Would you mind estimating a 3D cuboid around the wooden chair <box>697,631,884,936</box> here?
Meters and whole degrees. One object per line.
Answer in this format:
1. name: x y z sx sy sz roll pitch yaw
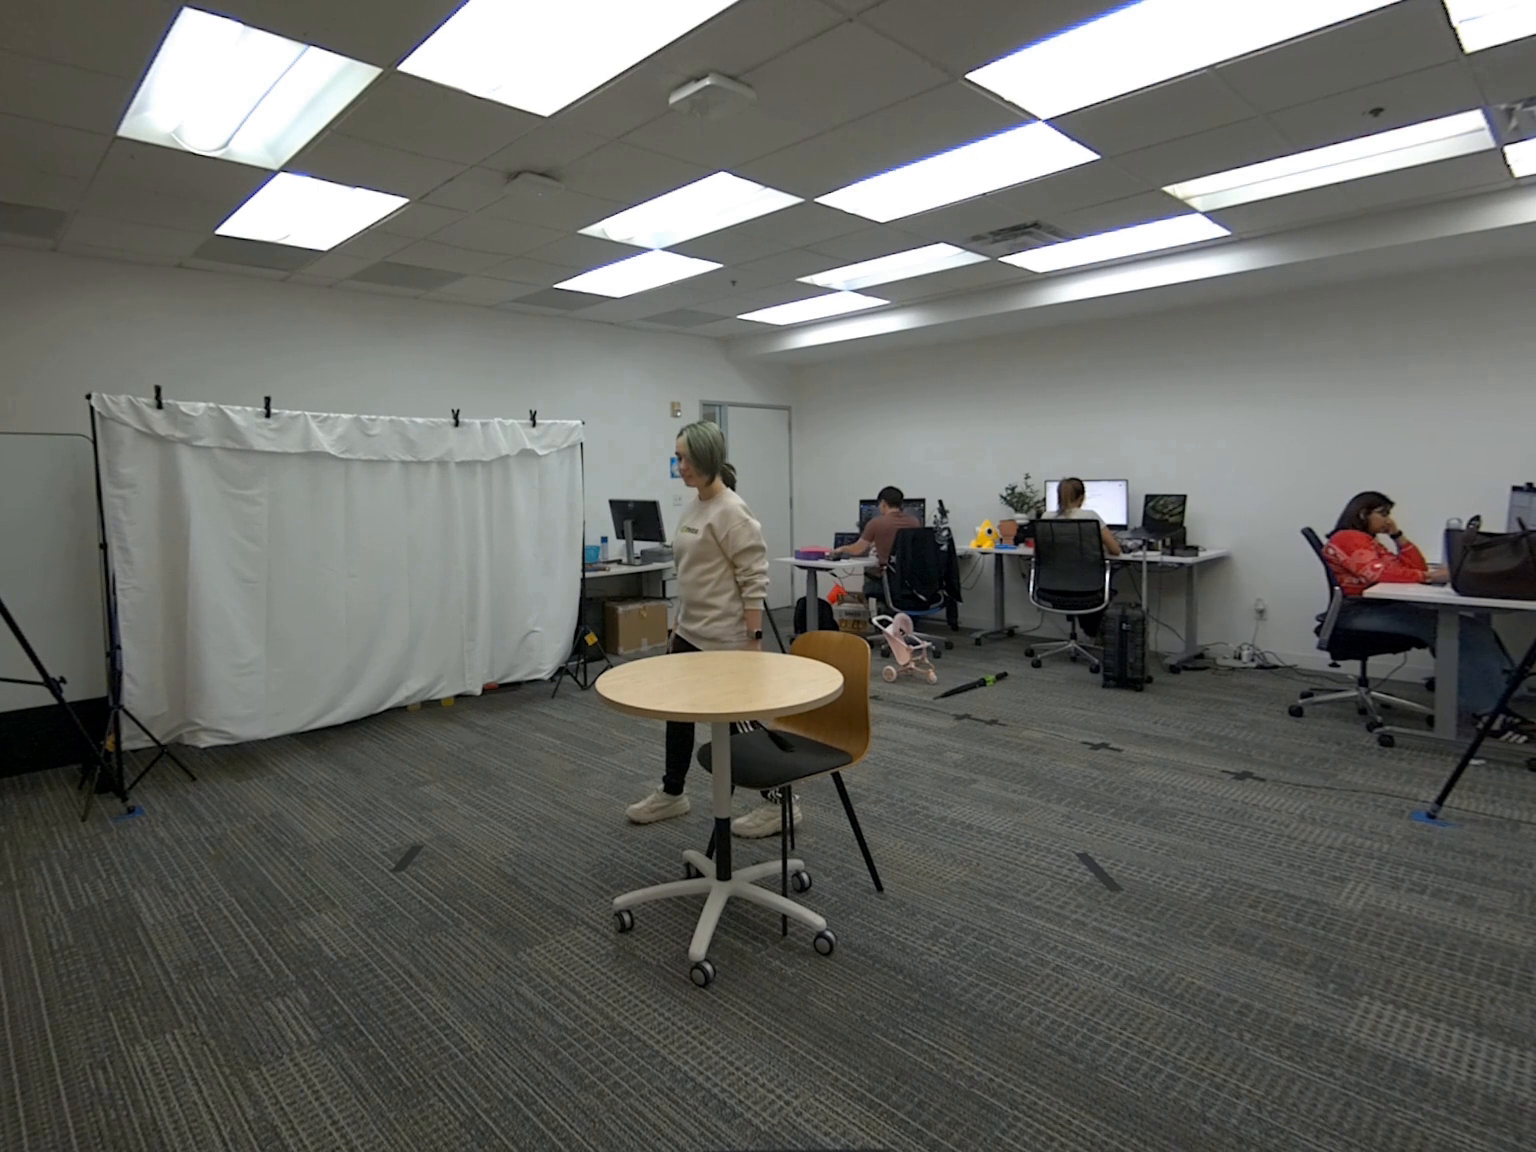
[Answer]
1. wooden chair: 0.063 0.644 2.885 0.508 0.876 0.493 1 3 -39
